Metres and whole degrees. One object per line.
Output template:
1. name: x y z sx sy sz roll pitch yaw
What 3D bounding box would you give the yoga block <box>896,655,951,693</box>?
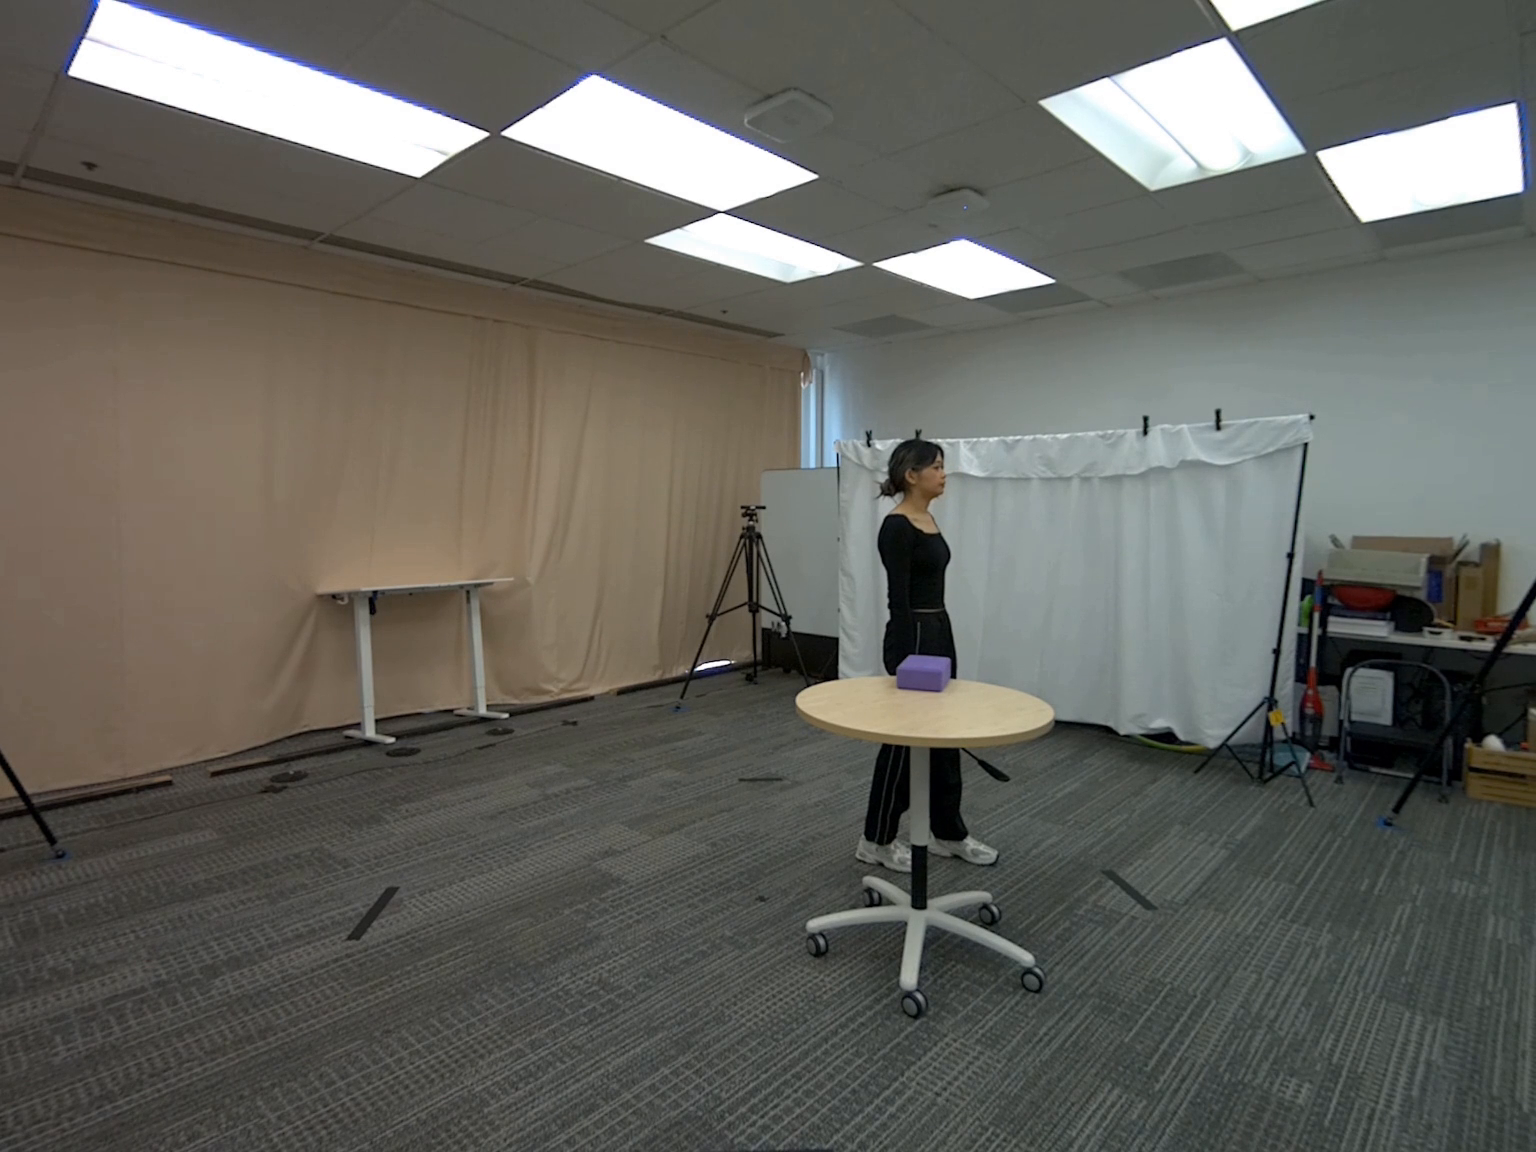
1. yoga block: 0.540 0.330 2.841 0.152 0.076 0.225 3 7 22
